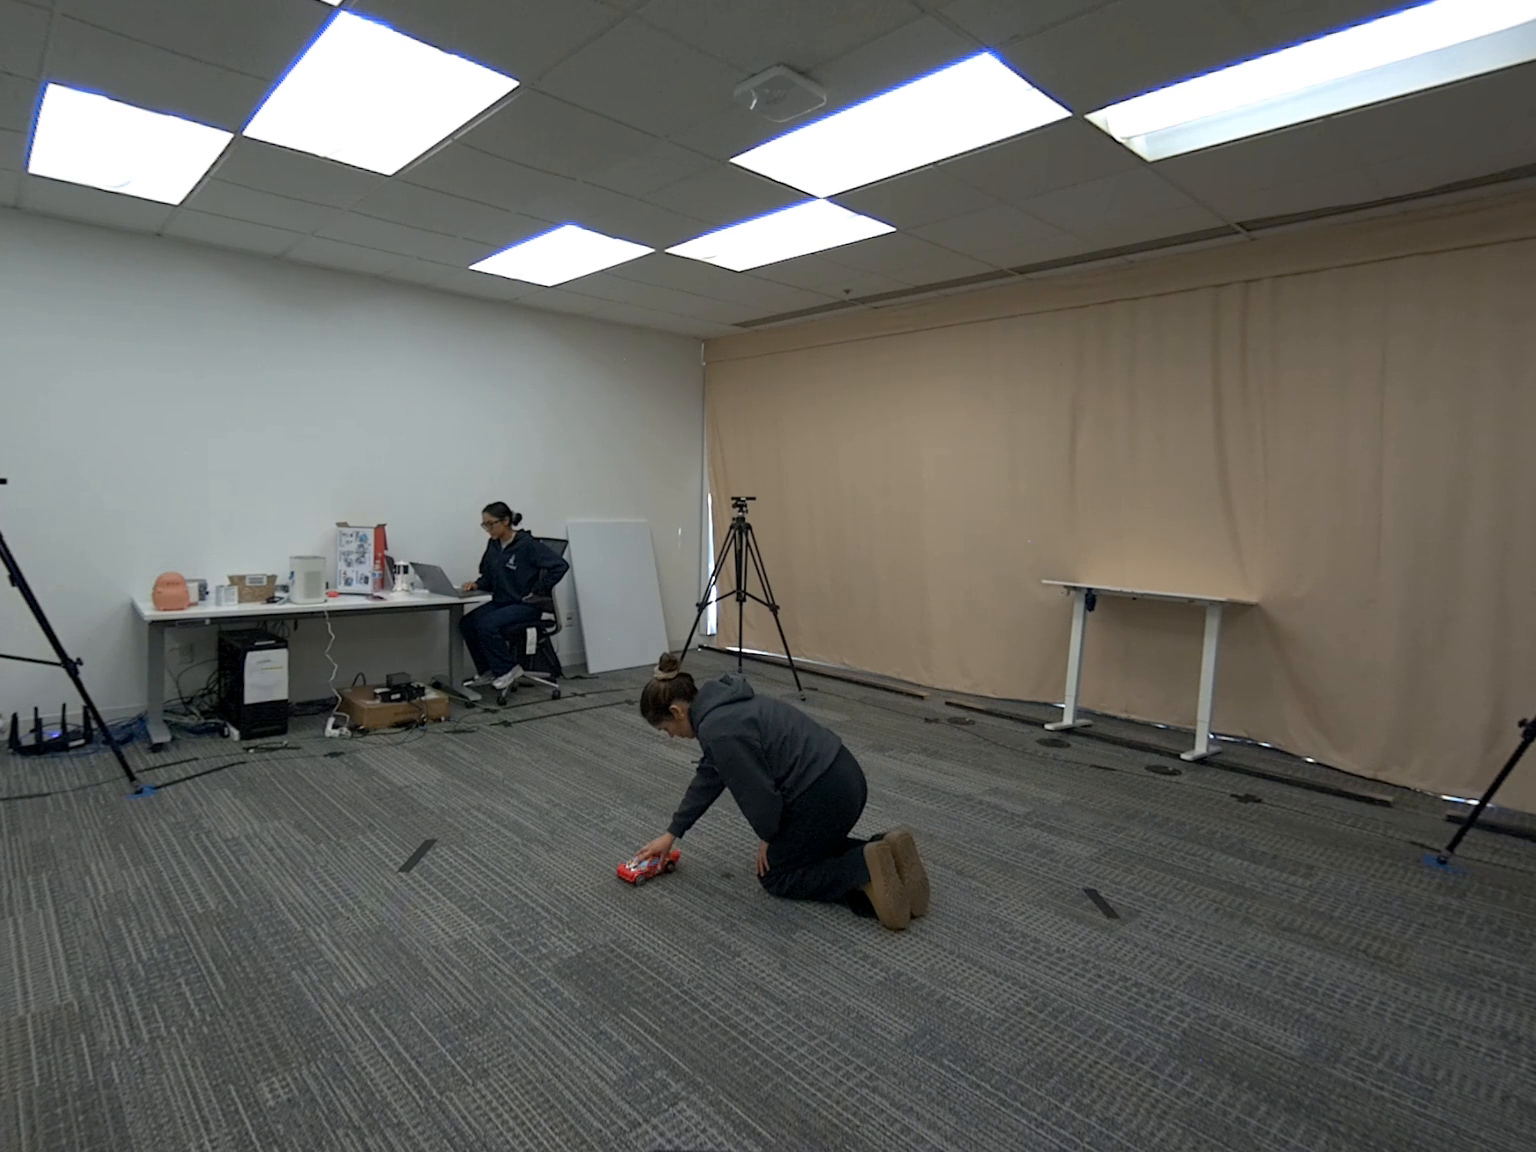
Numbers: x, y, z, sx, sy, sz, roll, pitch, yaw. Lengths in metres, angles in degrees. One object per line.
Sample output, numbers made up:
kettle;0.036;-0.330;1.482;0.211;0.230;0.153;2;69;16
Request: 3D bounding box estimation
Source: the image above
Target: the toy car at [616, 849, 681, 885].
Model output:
toy car;-0.437;1.060;3.131;0.134;0.082;0.251;7;19;42
